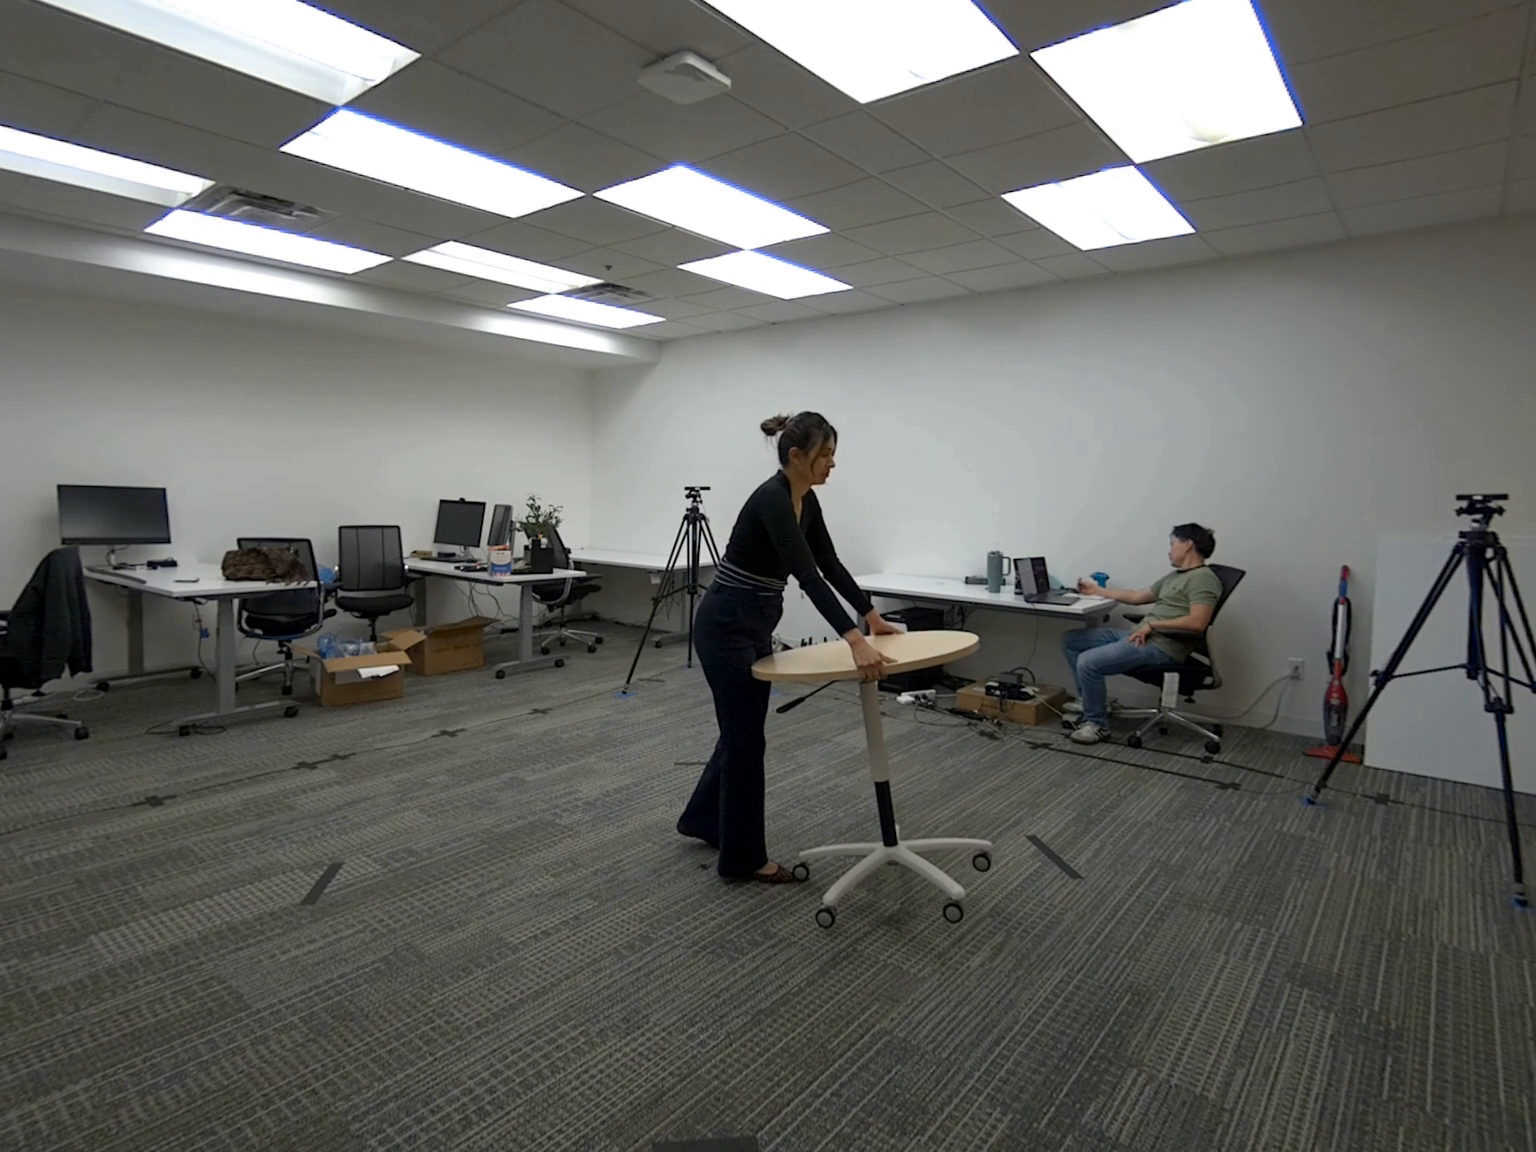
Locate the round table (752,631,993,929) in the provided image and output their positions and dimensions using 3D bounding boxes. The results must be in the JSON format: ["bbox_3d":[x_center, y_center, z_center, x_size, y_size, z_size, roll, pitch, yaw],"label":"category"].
[{"bbox_3d":[0.372,0.651,2.879,0.763,0.794,0.765,-8,1,-2],"label":"round table"}]
